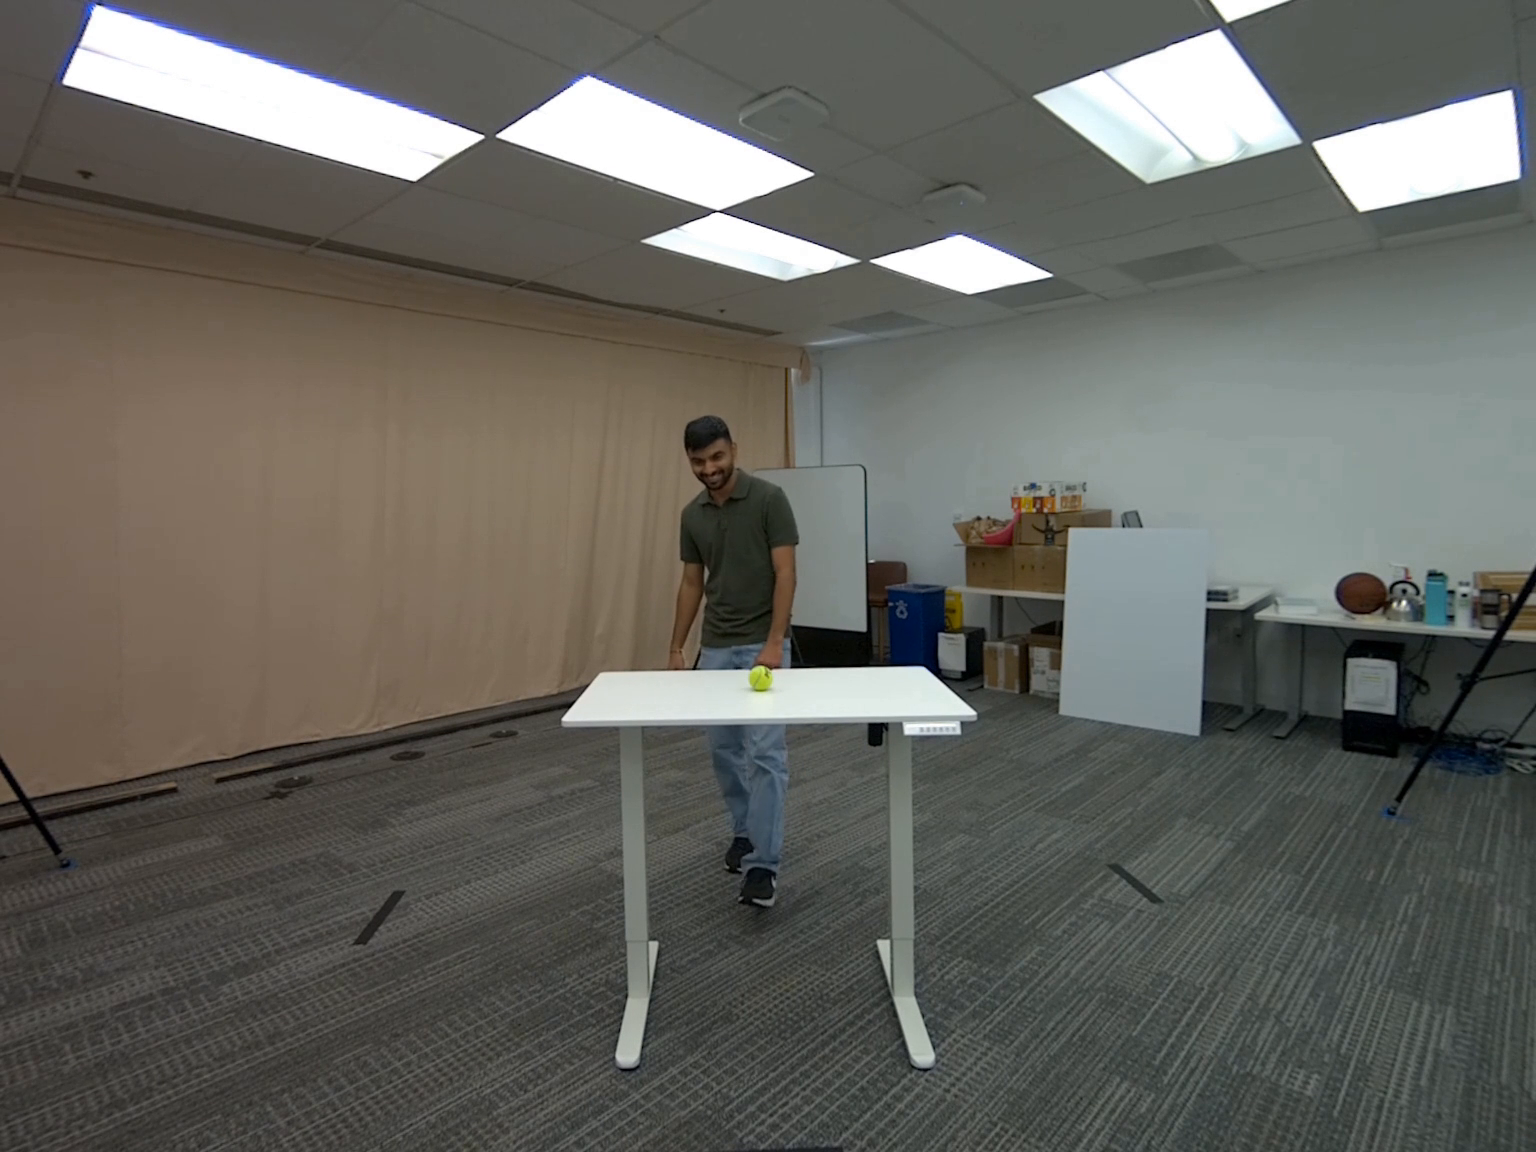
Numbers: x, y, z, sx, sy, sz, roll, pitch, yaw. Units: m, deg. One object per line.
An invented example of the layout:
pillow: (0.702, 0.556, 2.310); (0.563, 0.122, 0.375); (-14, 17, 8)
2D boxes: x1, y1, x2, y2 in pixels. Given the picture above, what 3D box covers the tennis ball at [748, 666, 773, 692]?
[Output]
tennis ball: (-0.023, 0.283, 2.334); (0.066, 0.066, 0.067); (-1, 4, -2)
